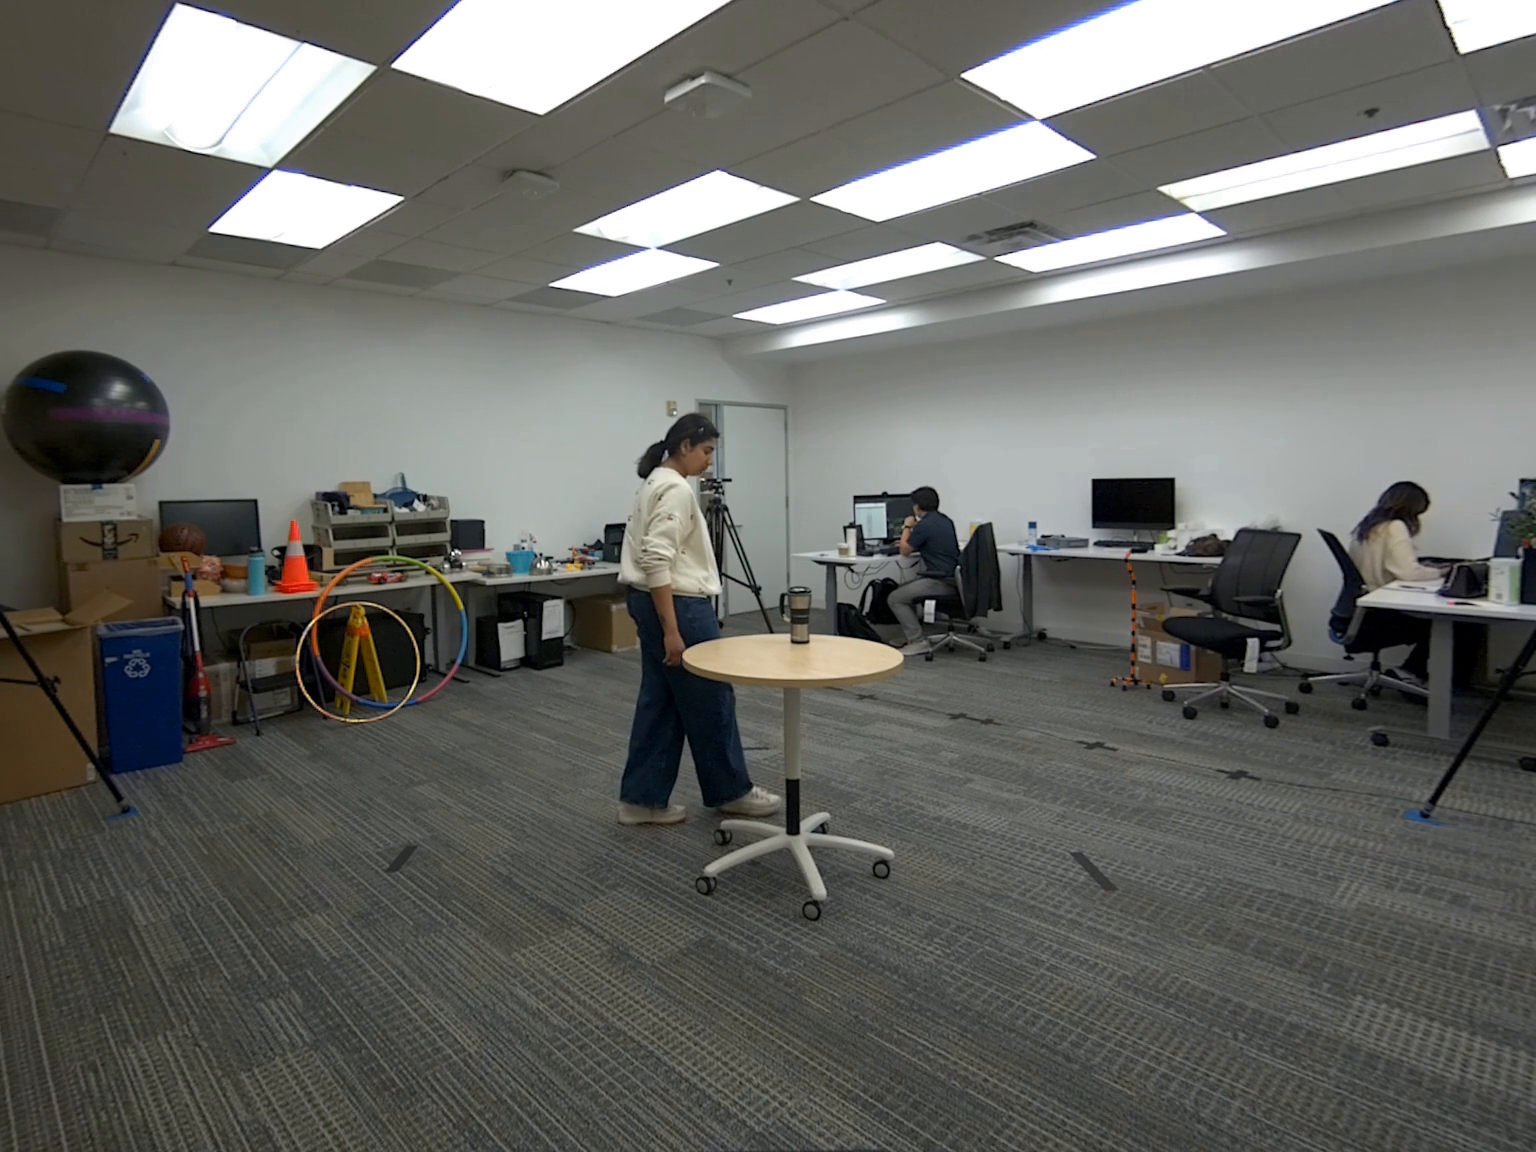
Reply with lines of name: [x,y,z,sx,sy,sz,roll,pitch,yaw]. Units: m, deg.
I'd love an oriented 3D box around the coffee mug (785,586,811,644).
coffee mug: [0.109,0.149,3.200,0.086,0.201,0.126,-7,10,-32]
